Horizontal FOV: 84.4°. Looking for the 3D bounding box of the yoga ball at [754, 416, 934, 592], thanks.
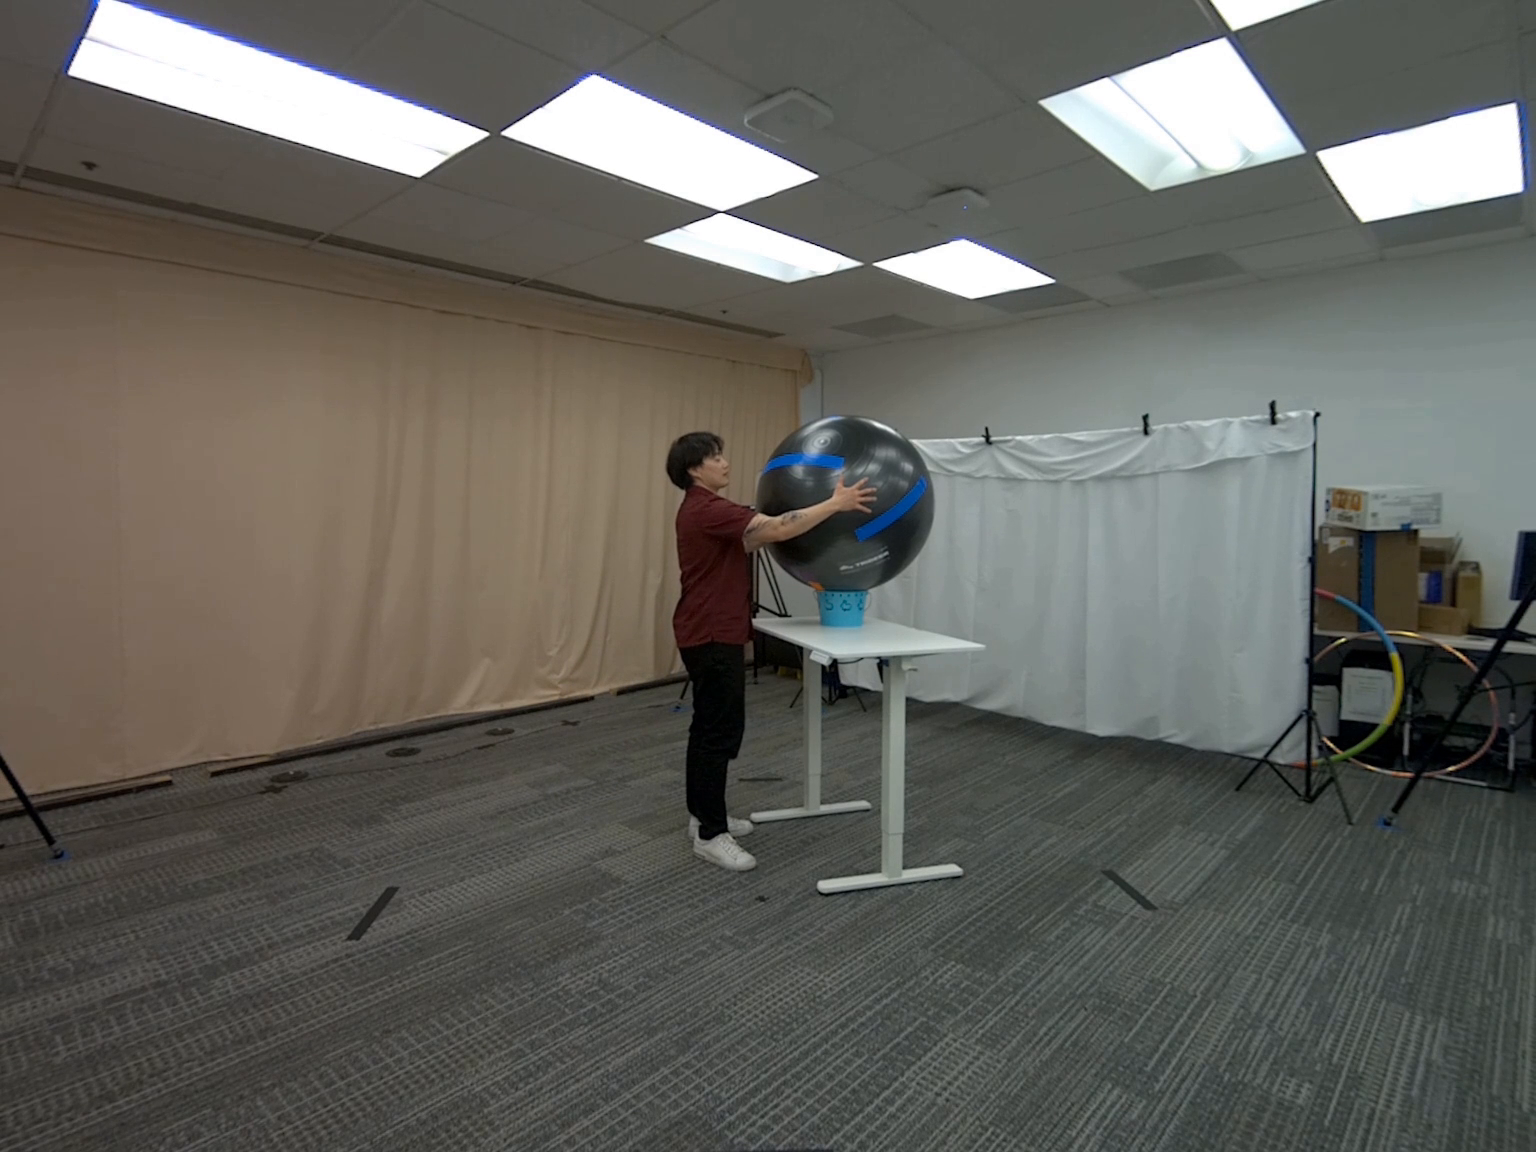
[{"bbox_3d":[0.335,-0.303,3.629,0.757,0.756,0.760,0,4,-2],"label":"yoga ball"}]
